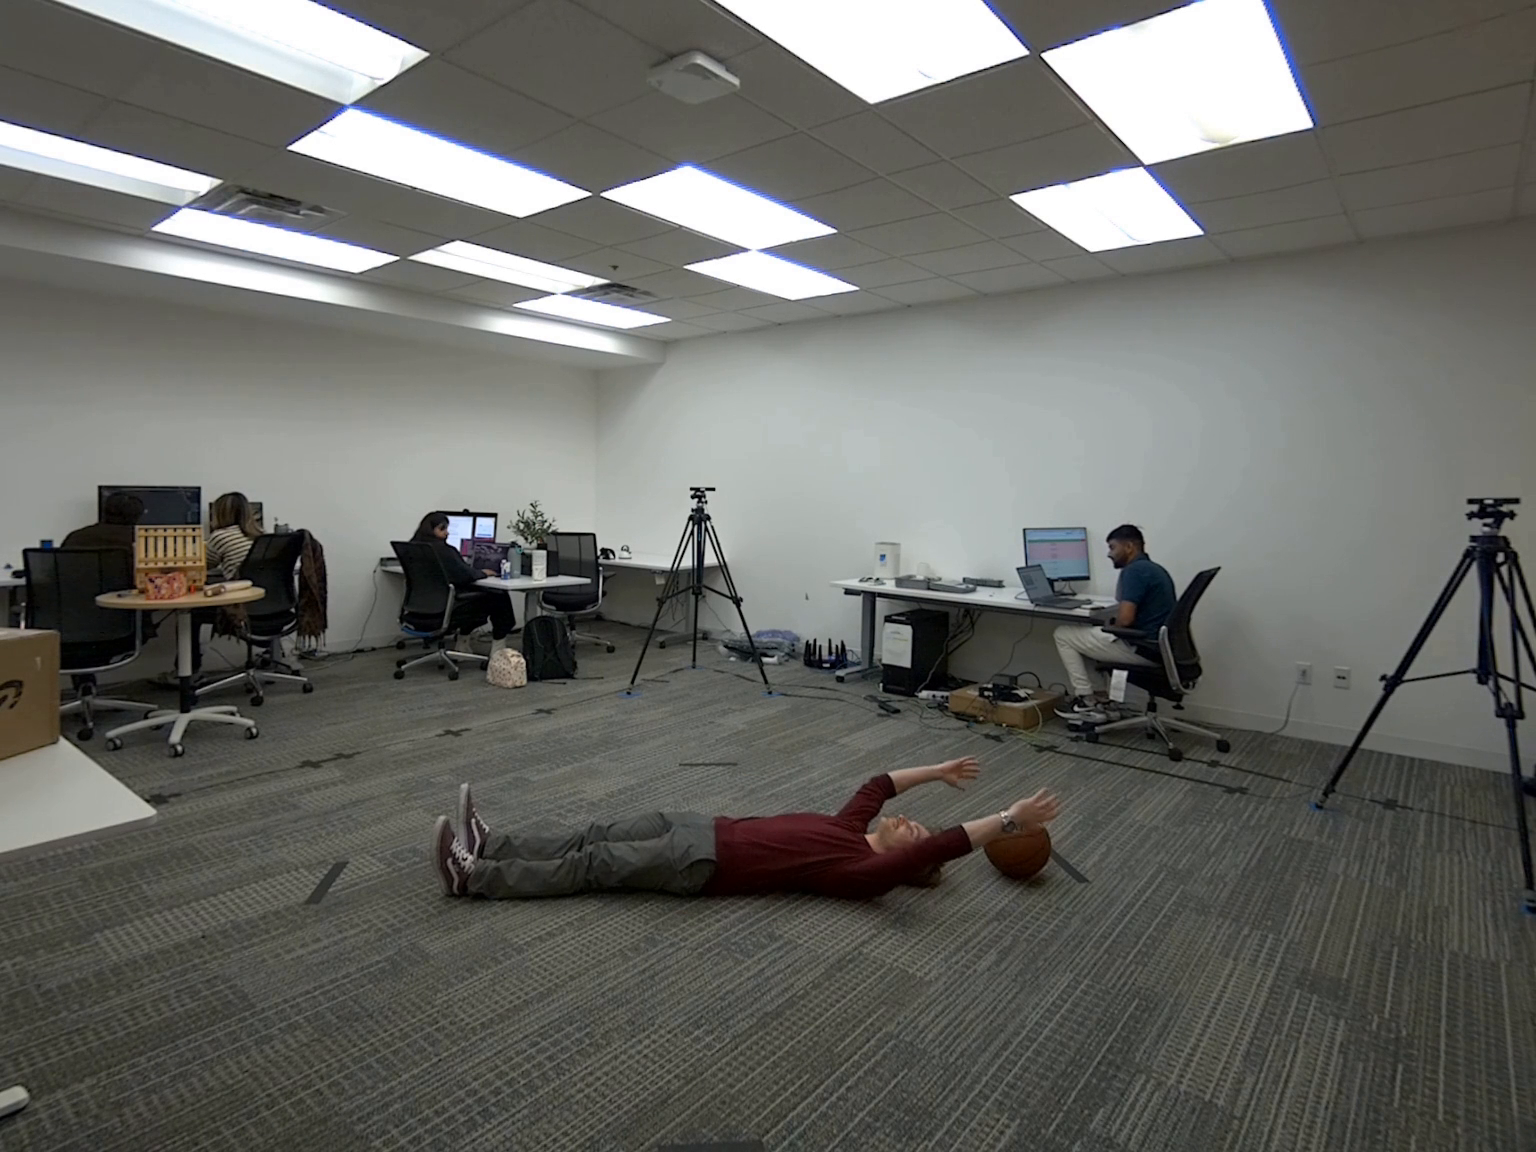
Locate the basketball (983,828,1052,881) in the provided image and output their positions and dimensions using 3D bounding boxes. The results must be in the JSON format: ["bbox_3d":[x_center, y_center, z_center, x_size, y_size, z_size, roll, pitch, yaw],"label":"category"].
[{"bbox_3d":[0.909,0.972,3.122,0.235,0.235,0.237,1,4,-2],"label":"basketball"}]
